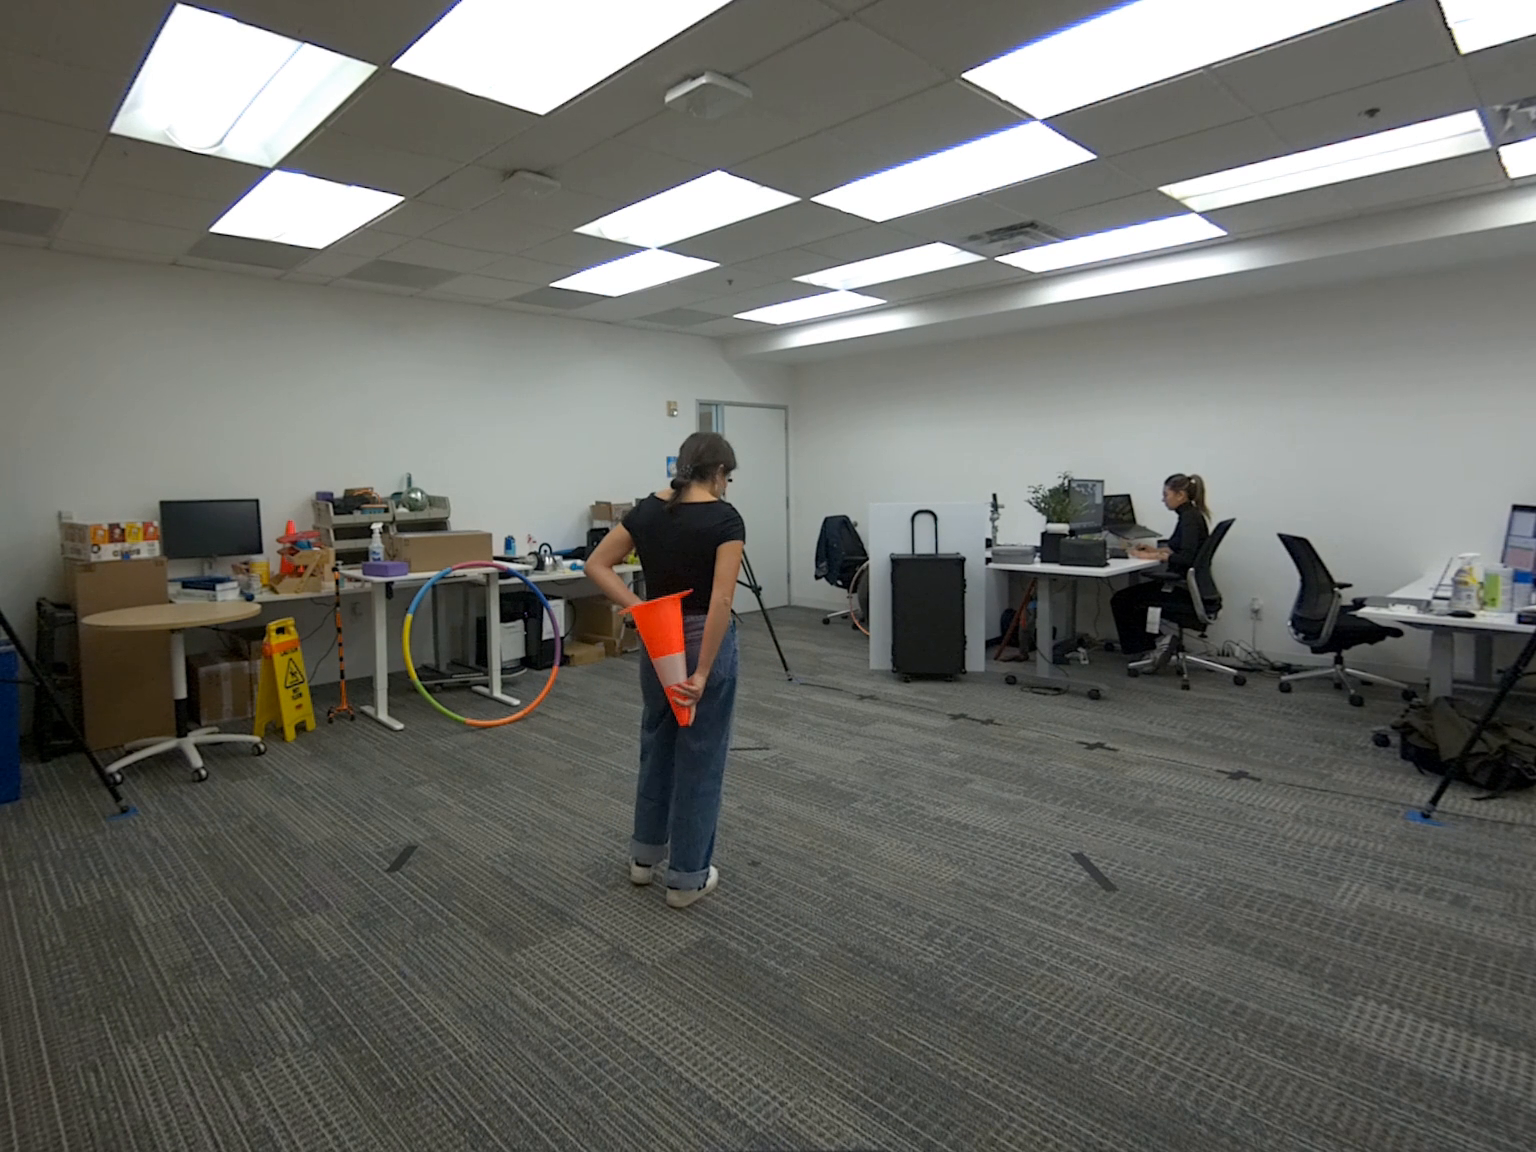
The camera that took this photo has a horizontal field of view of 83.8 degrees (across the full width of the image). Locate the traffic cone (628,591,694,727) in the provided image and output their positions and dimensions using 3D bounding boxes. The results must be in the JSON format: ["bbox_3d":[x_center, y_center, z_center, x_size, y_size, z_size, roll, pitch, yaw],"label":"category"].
[{"bbox_3d":[-0.300,0.270,2.610,0.201,0.388,0.205,-12,-9,-26],"label":"traffic cone"}]
